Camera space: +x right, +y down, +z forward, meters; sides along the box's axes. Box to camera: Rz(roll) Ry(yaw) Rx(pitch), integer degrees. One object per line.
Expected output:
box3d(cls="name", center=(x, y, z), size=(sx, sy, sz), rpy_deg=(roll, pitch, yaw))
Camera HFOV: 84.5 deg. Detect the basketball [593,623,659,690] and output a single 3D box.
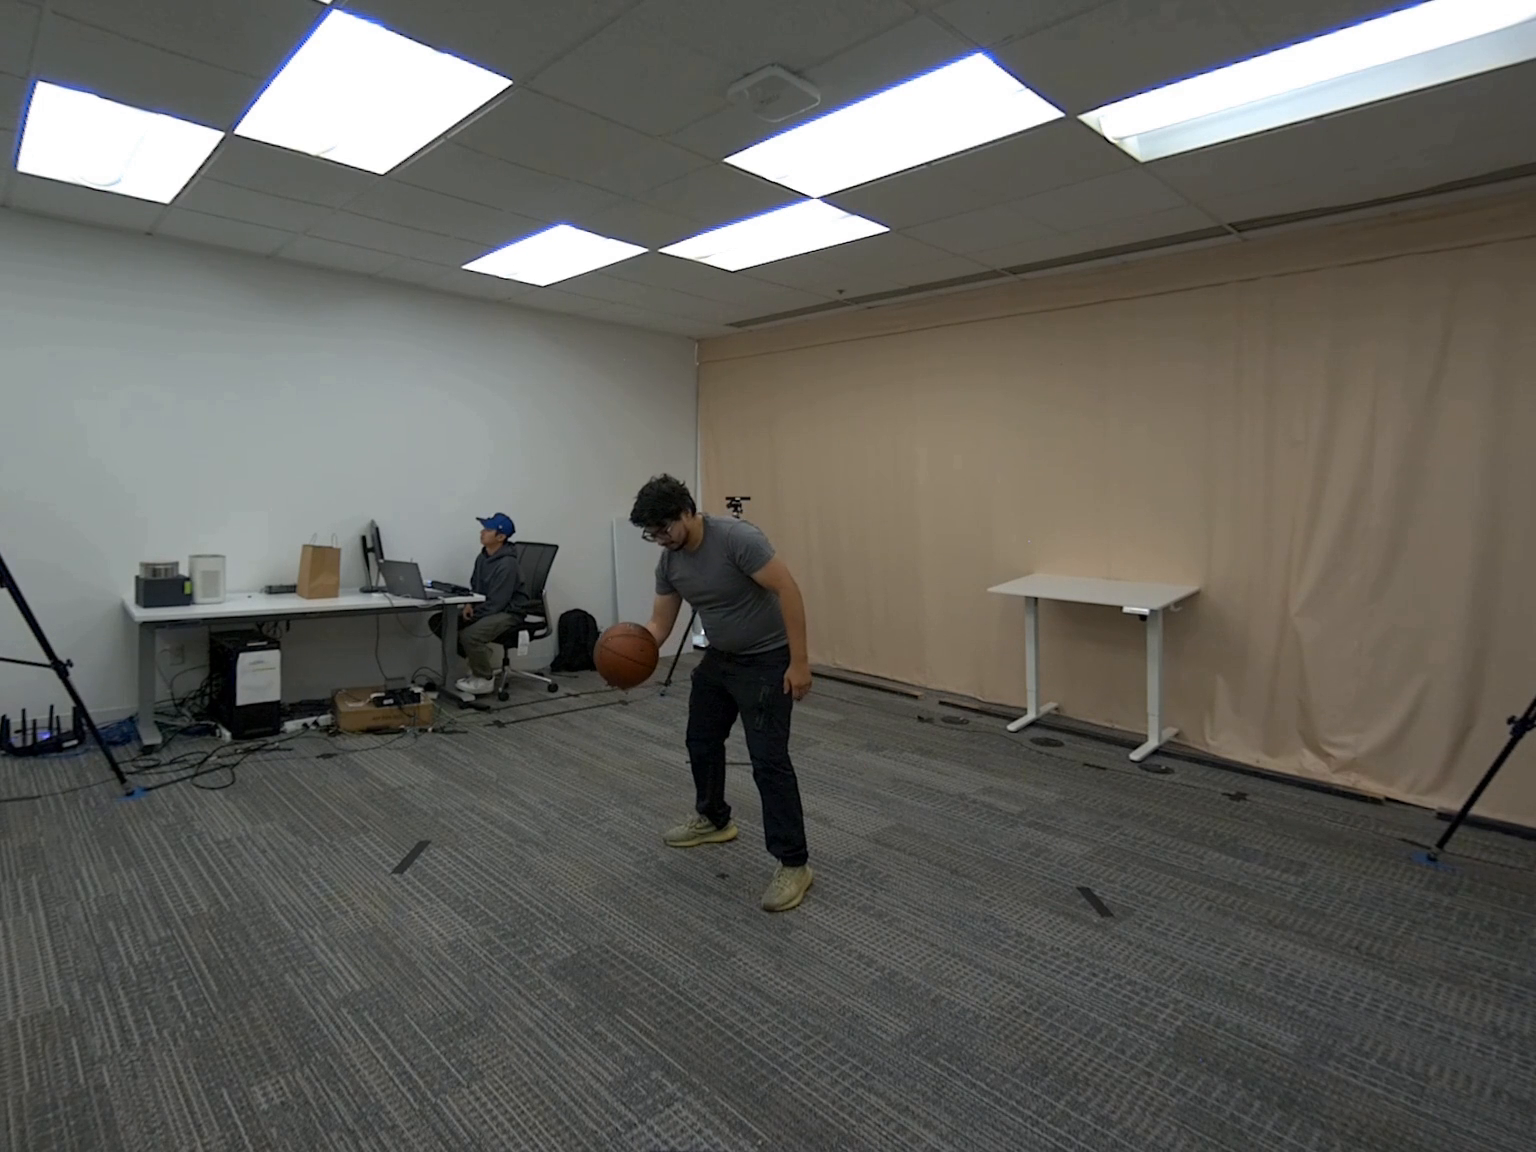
box3d(cls="basketball", center=(-0.521, 0.294, 3.099), size=(0.236, 0.235, 0.237), rpy_deg=(1, 4, -1))
